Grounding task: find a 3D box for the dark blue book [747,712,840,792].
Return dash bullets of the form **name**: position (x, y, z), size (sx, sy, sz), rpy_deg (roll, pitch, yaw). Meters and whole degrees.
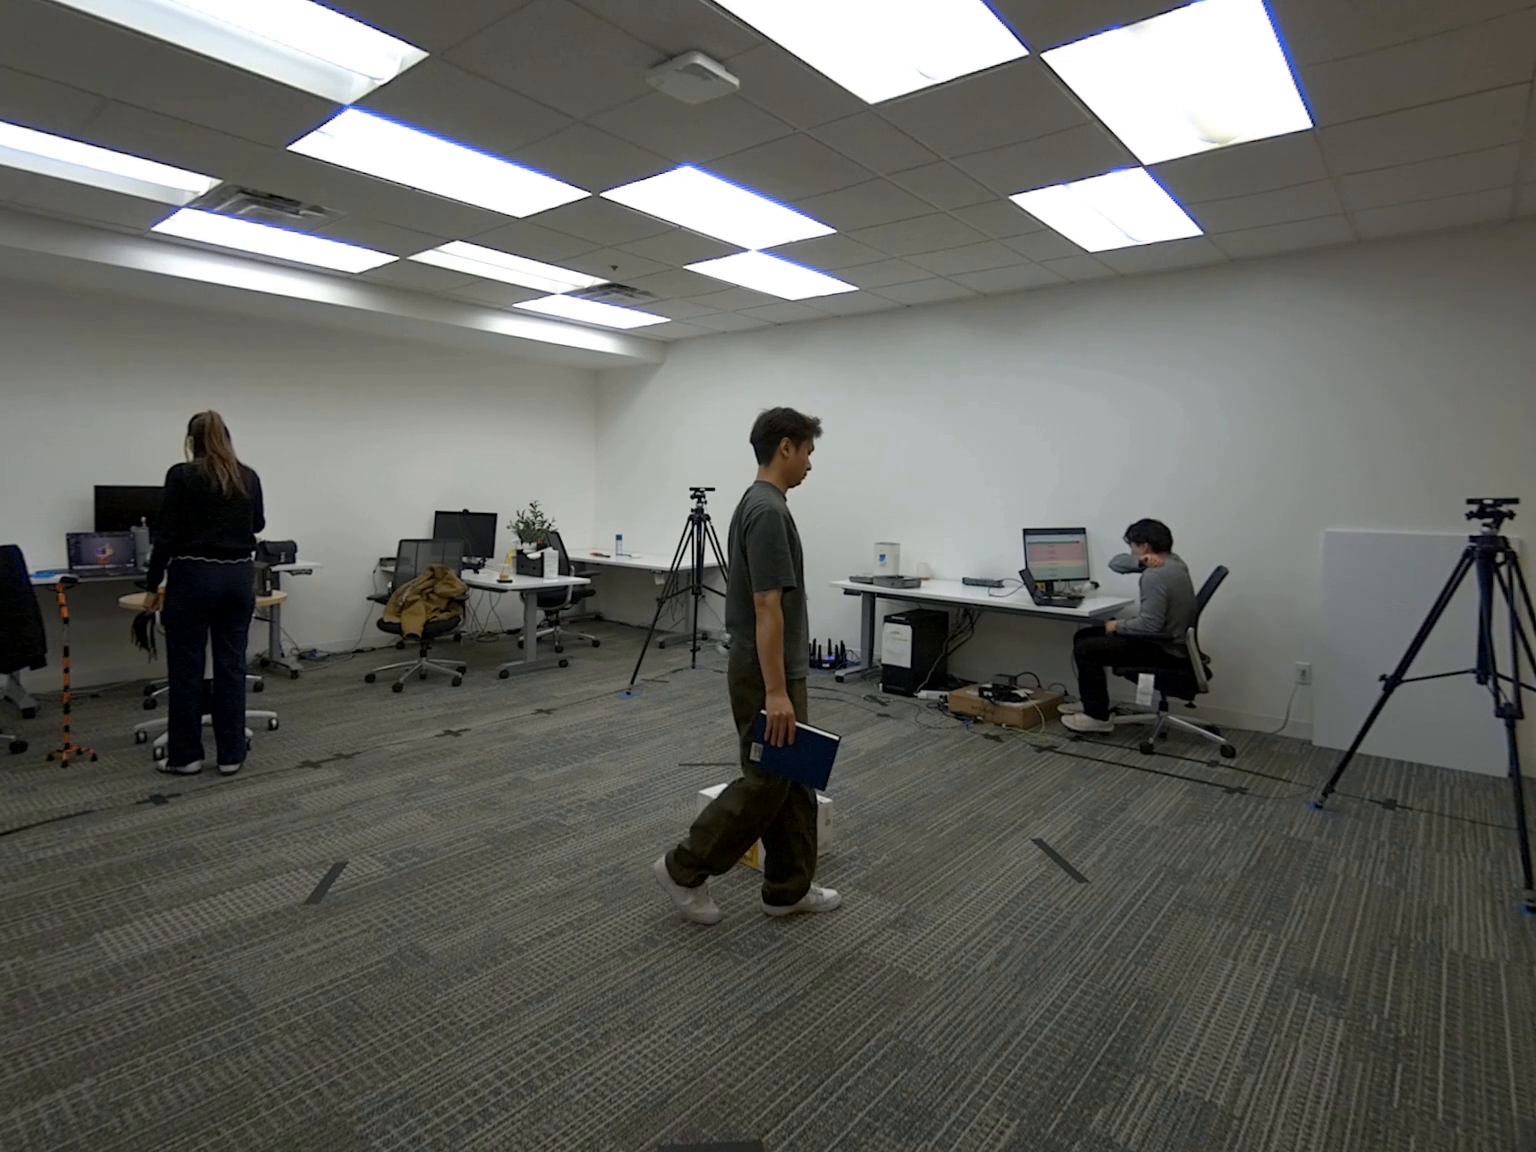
- **dark blue book**: position (0.070, 0.497, 2.471), size (0.249, 0.162, 0.045), rpy_deg (17, 8, 11)
